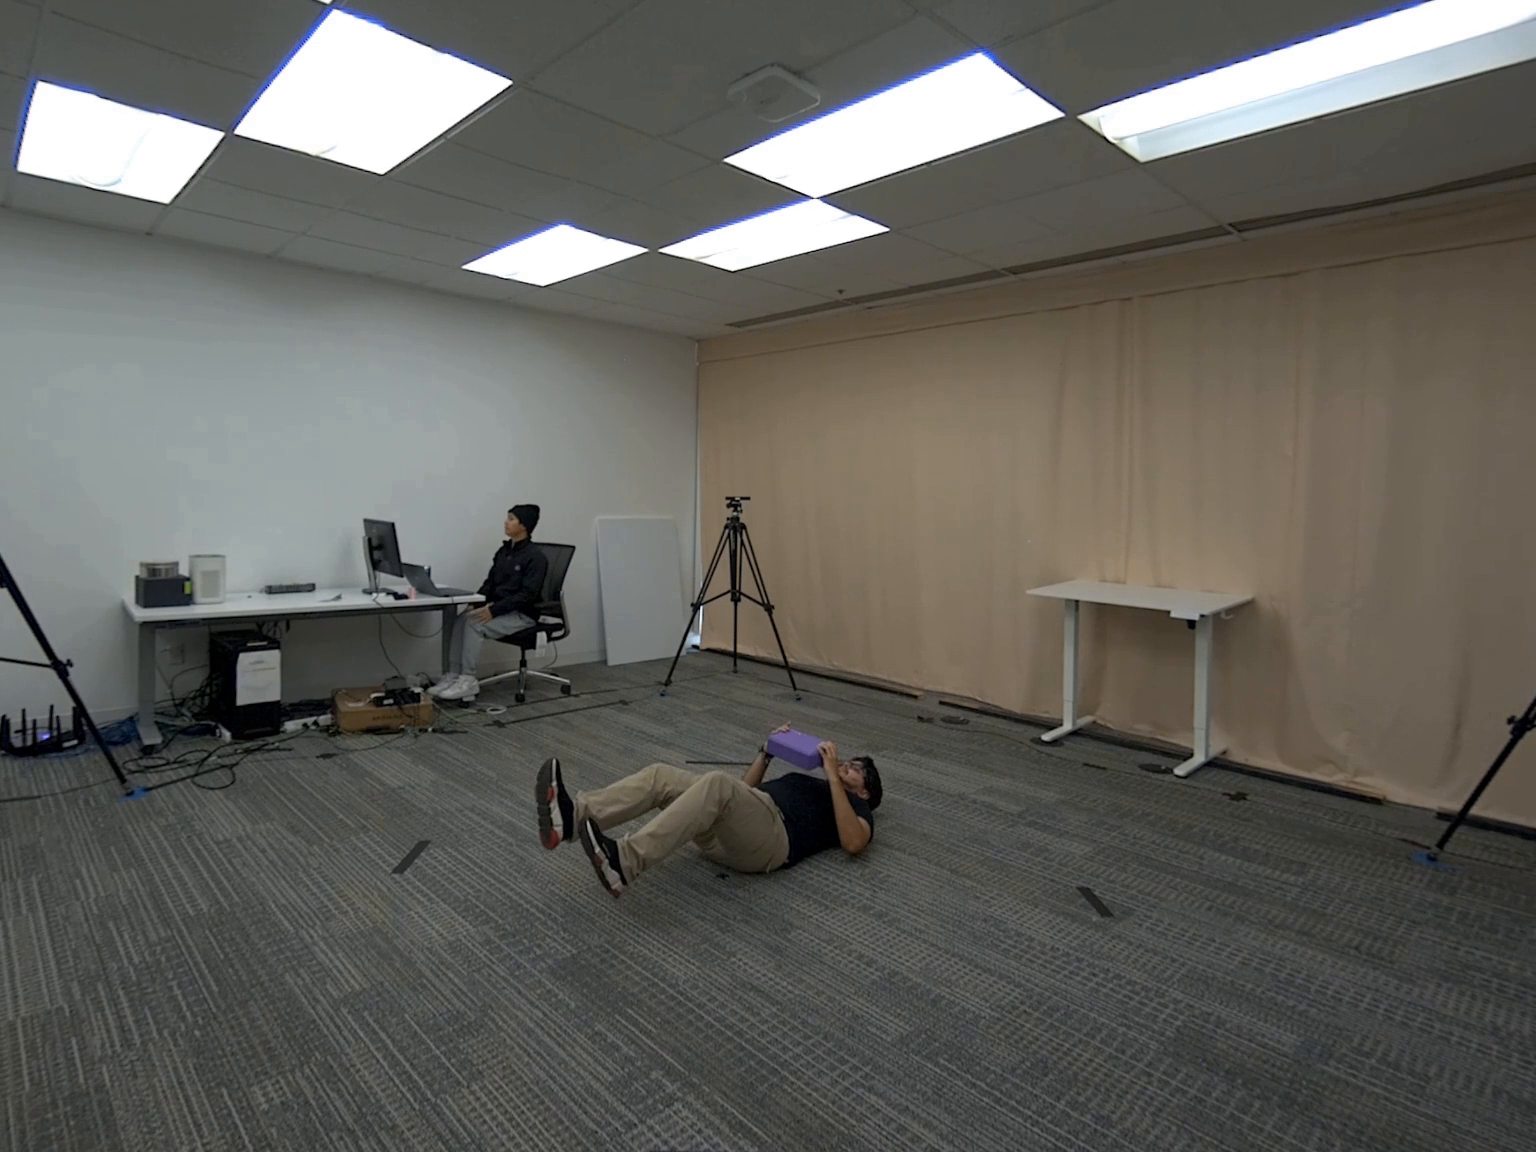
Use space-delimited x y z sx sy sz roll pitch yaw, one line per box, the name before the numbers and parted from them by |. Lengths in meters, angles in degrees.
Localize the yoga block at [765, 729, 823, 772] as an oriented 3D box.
yoga block | 0.121 0.708 3.425 0.236 0.076 0.146 14 16 41
